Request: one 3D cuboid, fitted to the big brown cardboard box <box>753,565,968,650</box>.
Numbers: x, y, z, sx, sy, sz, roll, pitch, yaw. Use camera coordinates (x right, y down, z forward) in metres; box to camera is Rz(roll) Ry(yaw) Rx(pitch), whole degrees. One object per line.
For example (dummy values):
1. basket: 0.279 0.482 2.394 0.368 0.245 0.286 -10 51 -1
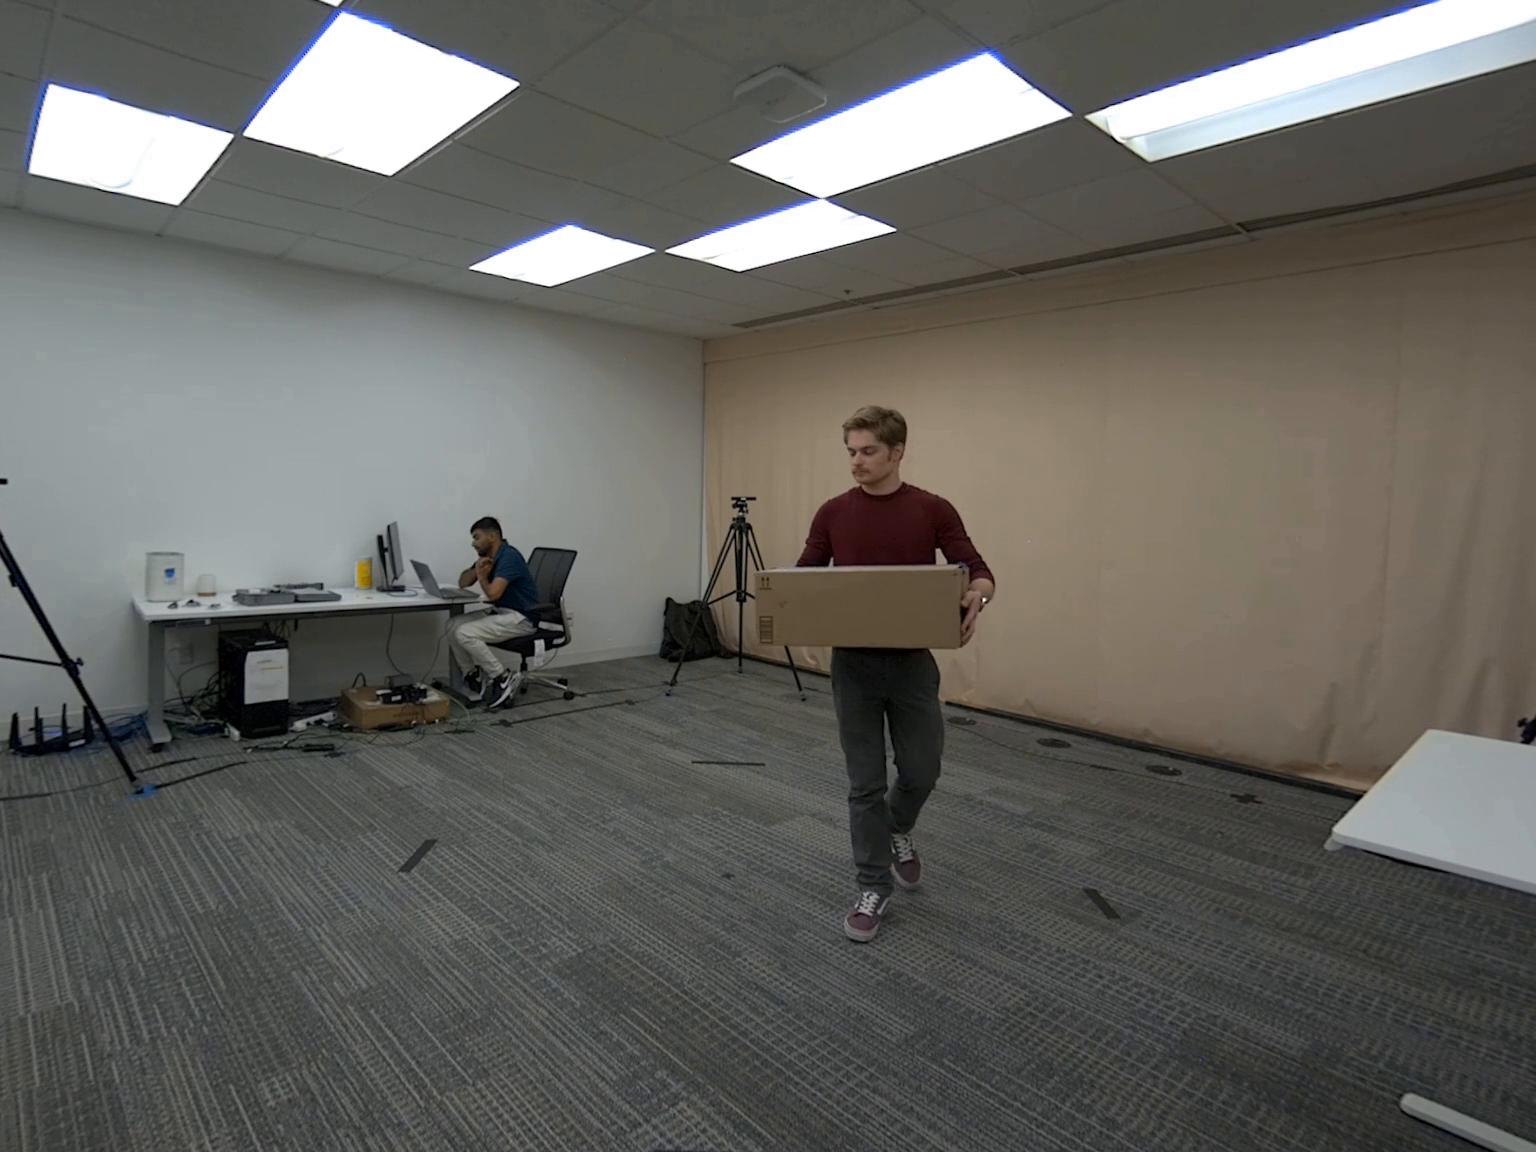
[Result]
1. big brown cardboard box: 0.280 0.085 2.539 0.596 0.233 0.413 -1 1 14
